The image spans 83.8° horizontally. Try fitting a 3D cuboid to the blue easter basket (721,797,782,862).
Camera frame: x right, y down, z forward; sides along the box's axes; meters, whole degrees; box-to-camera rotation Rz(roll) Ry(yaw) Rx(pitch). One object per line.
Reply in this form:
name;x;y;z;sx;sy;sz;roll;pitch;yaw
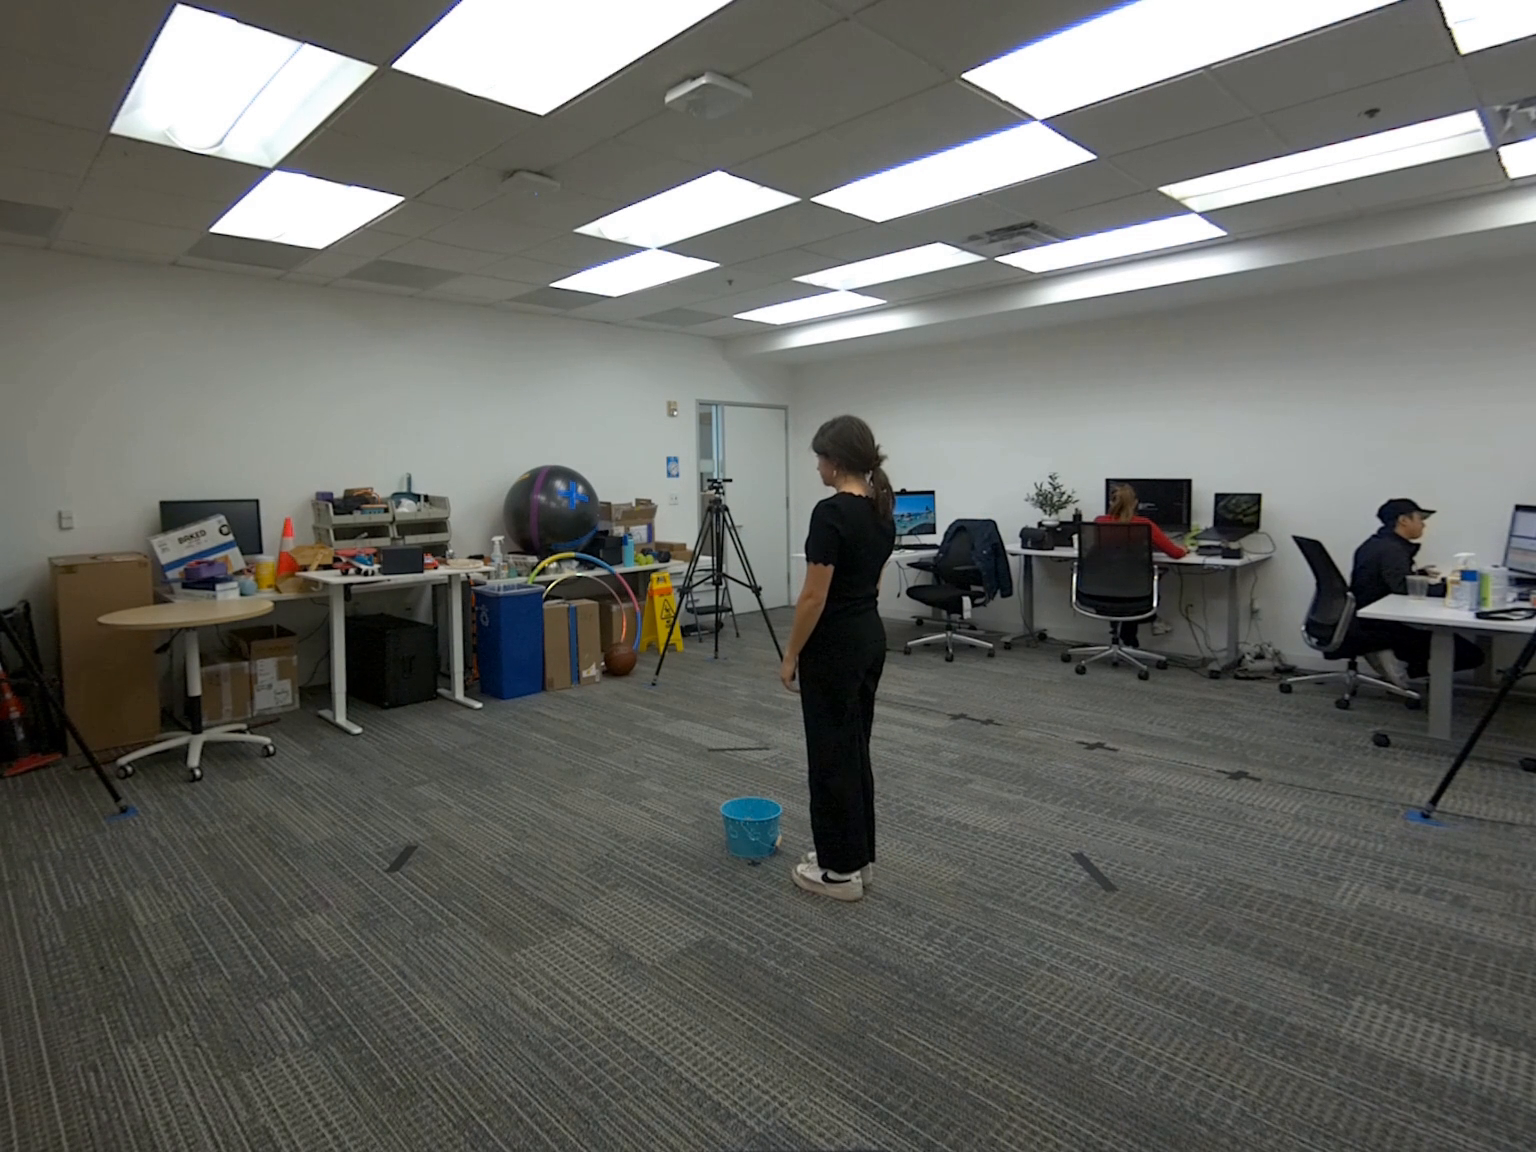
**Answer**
blue easter basket;-0.058;0.953;3.230;0.243;0.155;0.245;-1;5;-2
